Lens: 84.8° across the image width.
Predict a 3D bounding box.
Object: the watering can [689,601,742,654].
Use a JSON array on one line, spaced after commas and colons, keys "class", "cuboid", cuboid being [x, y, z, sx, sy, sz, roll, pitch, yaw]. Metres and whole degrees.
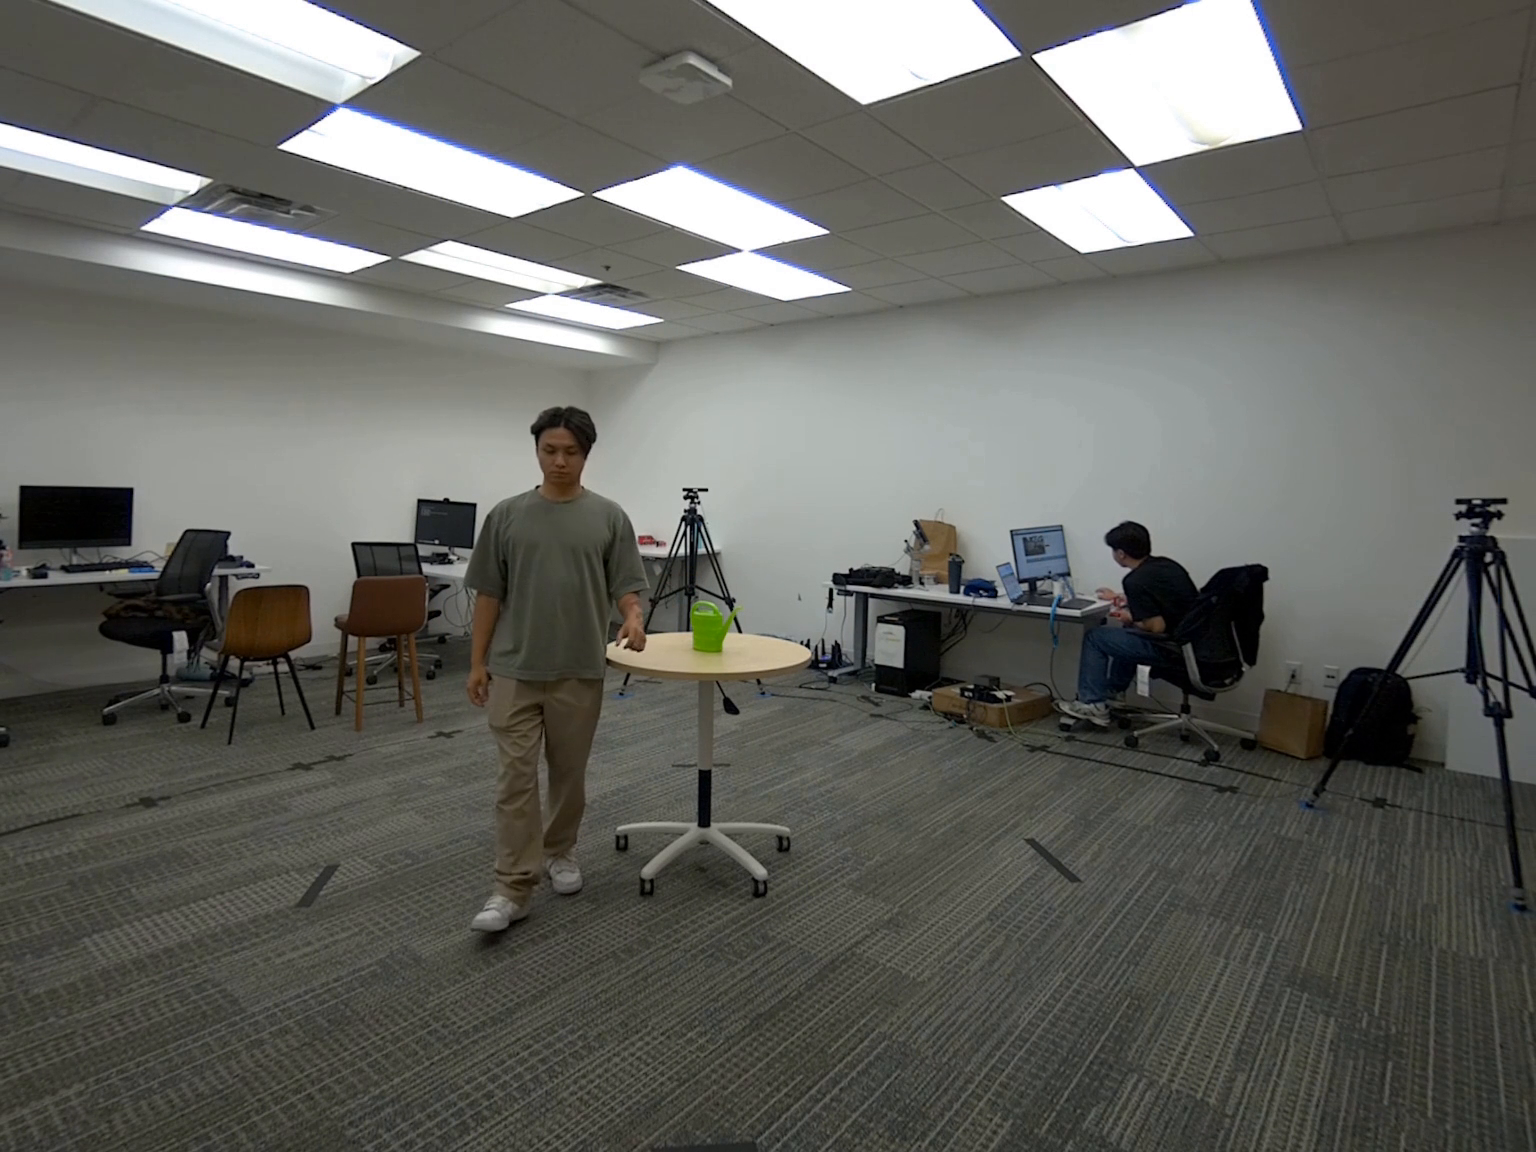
[{"class": "watering can", "cuboid": [-0.217, 0.184, 3.099, 0.095, 0.176, 0.286, -3, 5, -28]}]
